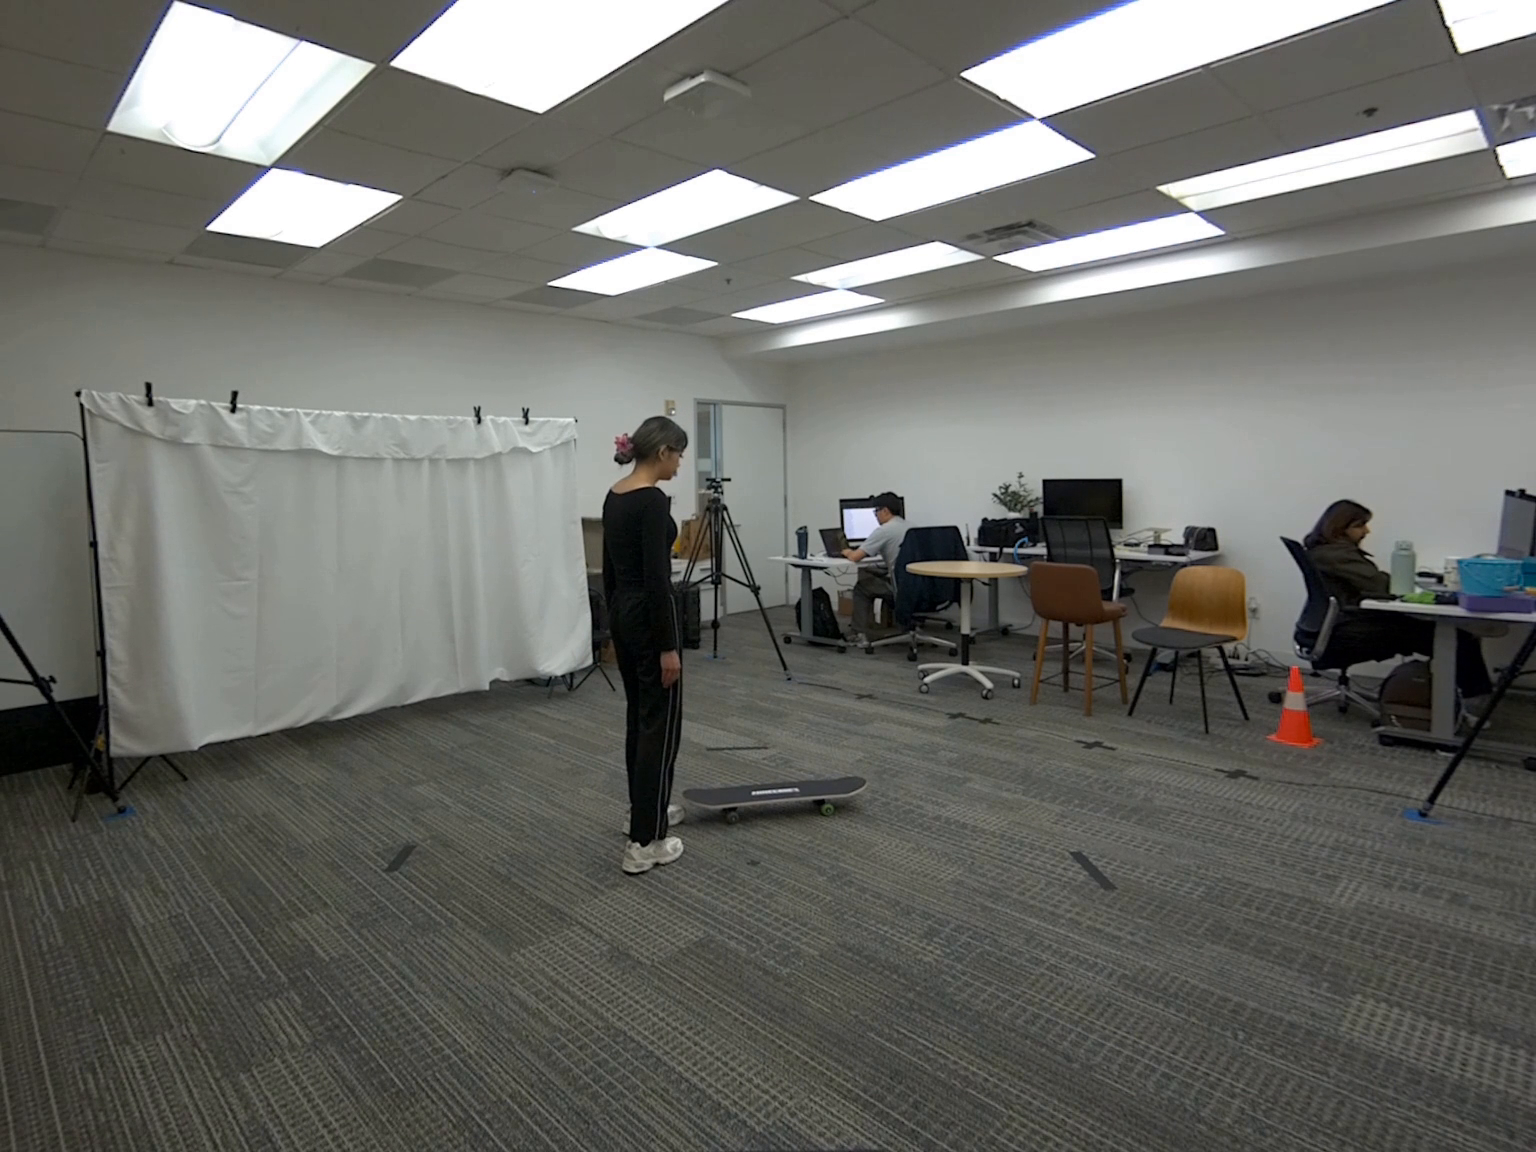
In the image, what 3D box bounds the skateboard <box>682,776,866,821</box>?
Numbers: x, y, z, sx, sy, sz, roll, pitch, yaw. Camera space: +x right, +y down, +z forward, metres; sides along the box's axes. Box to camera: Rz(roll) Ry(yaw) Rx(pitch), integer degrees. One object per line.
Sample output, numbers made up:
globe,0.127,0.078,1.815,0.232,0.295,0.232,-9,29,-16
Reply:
skateboard,0.031,0.933,3.571,0.778,0.110,0.196,-2,7,-10
